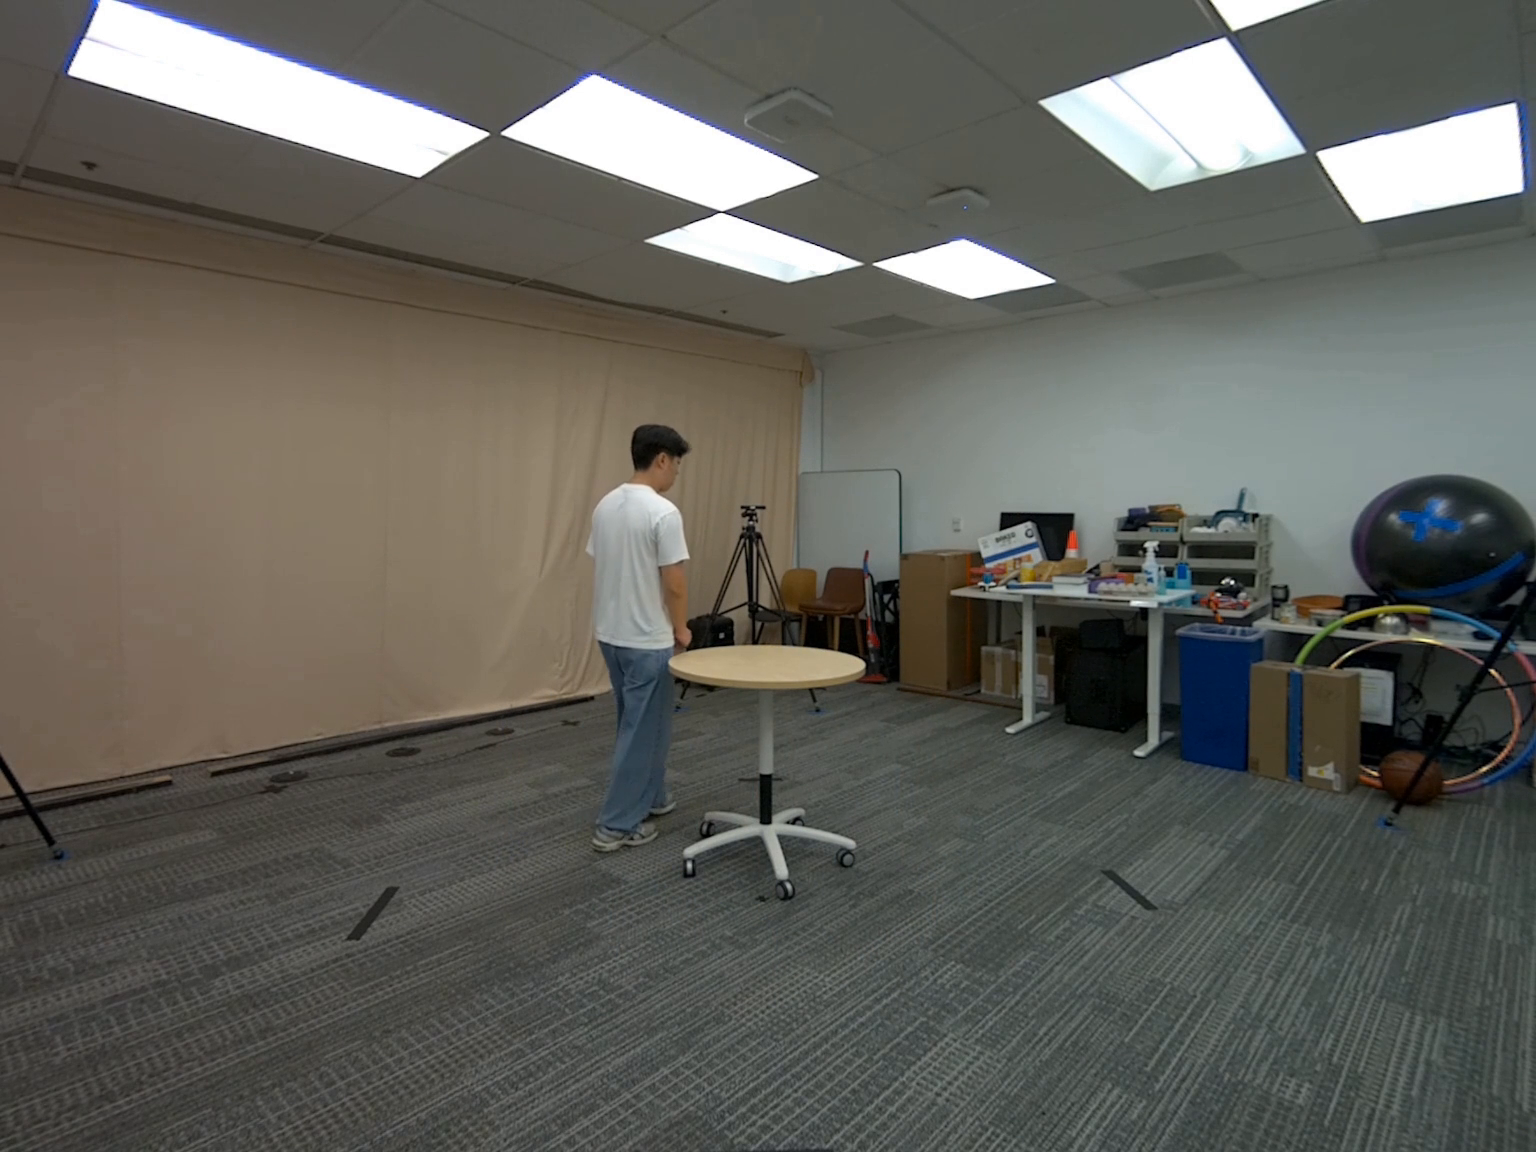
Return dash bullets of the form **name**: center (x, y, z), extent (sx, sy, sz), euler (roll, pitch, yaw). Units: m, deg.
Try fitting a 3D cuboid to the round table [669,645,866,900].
- **round table**: center (0.001, 0.729, 3.304), extent (0.763, 0.792, 0.766), euler (0, 4, -2)
